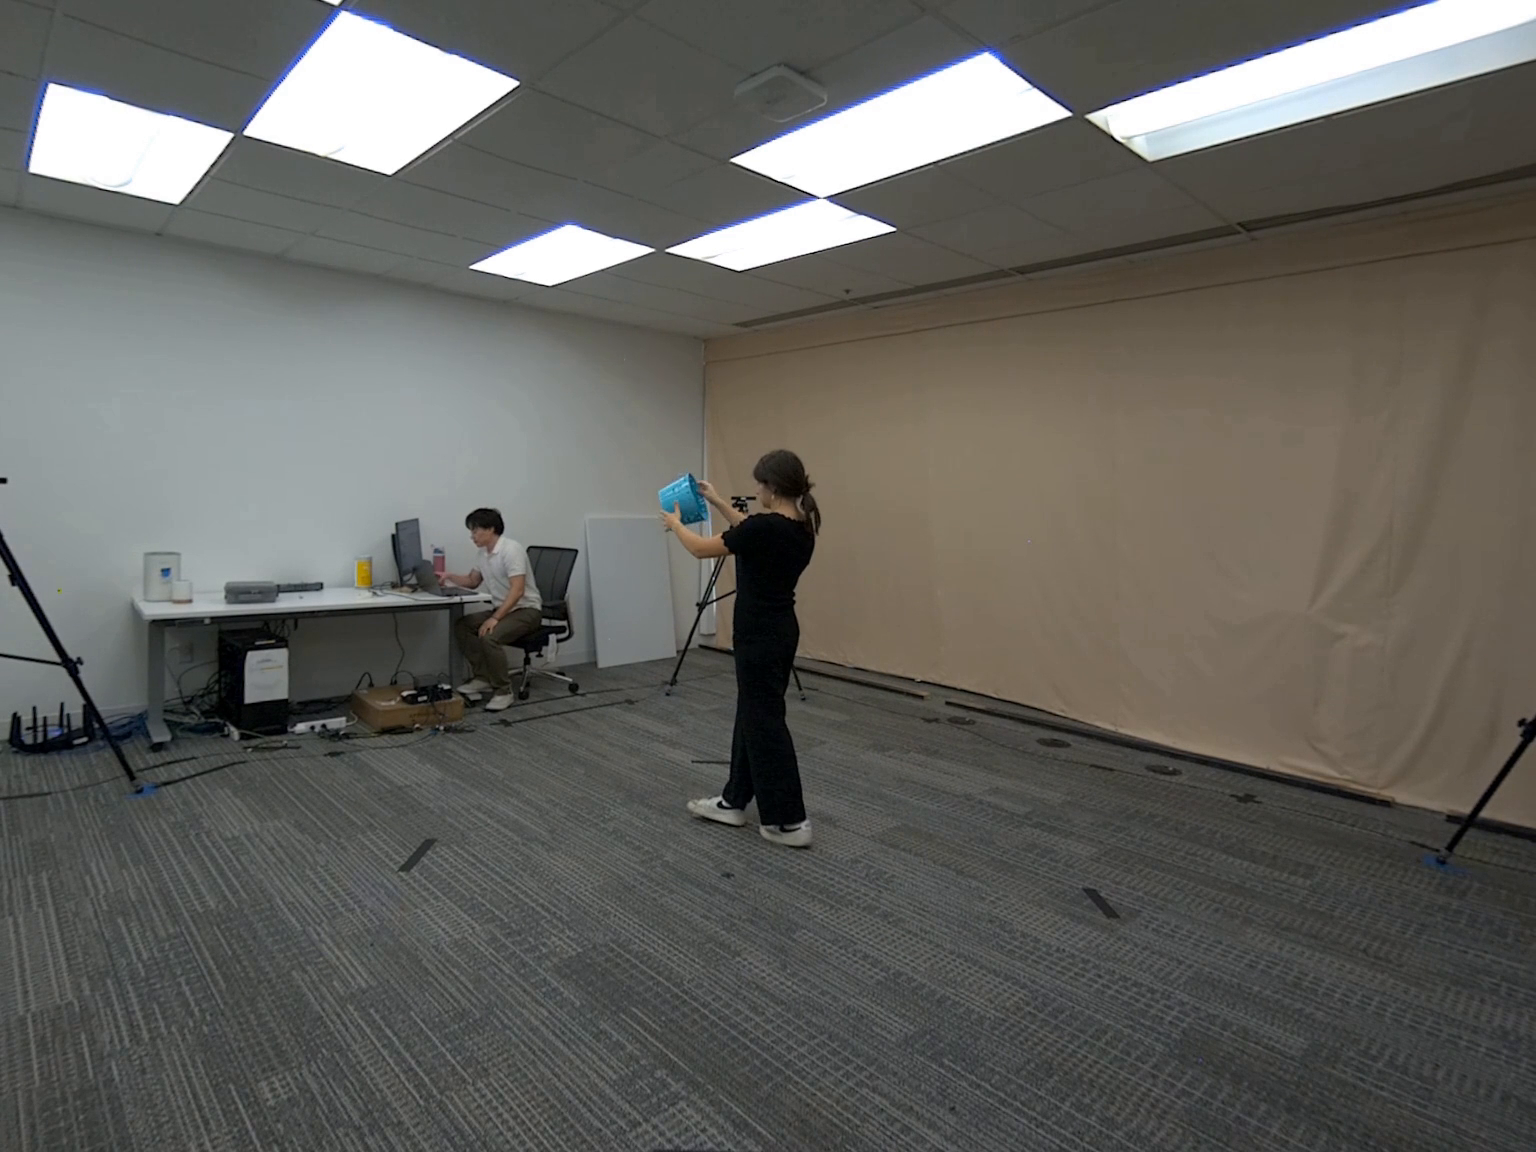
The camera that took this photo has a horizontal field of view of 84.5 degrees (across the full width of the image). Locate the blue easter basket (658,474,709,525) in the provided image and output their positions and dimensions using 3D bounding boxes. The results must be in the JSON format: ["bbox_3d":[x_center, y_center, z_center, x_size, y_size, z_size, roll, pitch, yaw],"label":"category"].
[{"bbox_3d":[-0.391,-0.325,3.754,0.156,0.244,0.242,-20,1,9],"label":"blue easter basket"}]
